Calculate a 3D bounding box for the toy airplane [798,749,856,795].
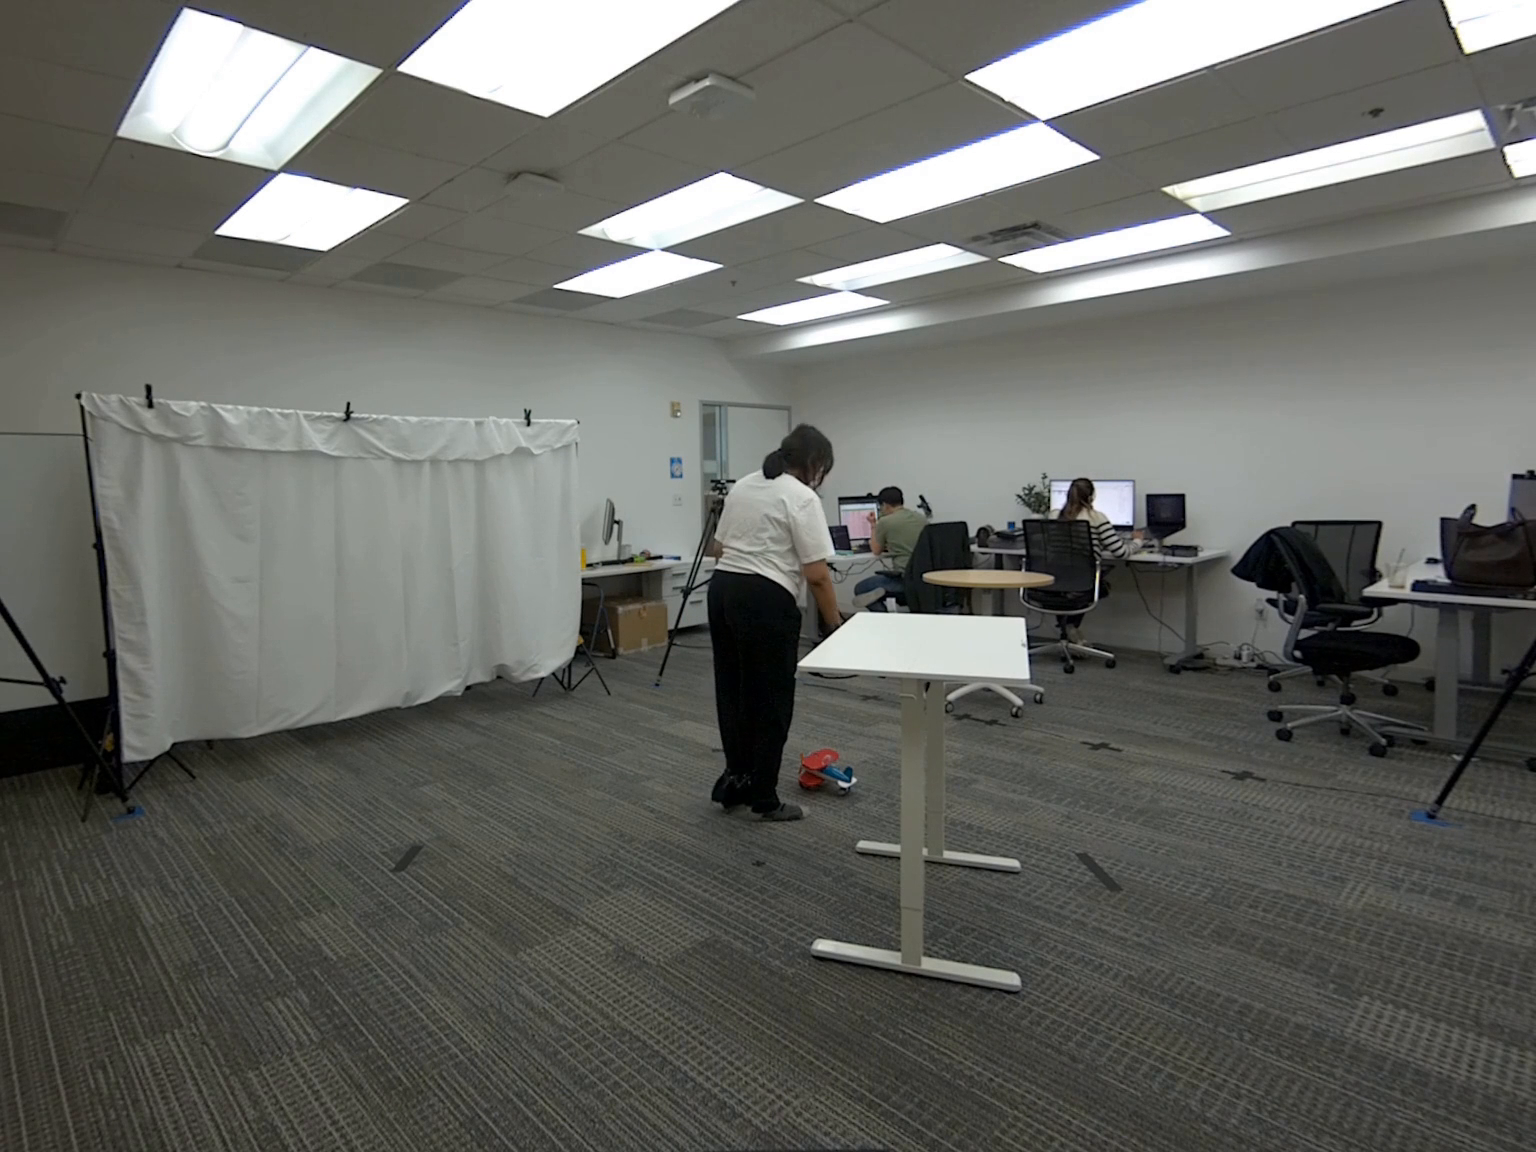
[{"bbox_3d":[0.272,0.883,3.851,0.261,0.156,0.250,0,4,7],"label":"toy airplane"}]
